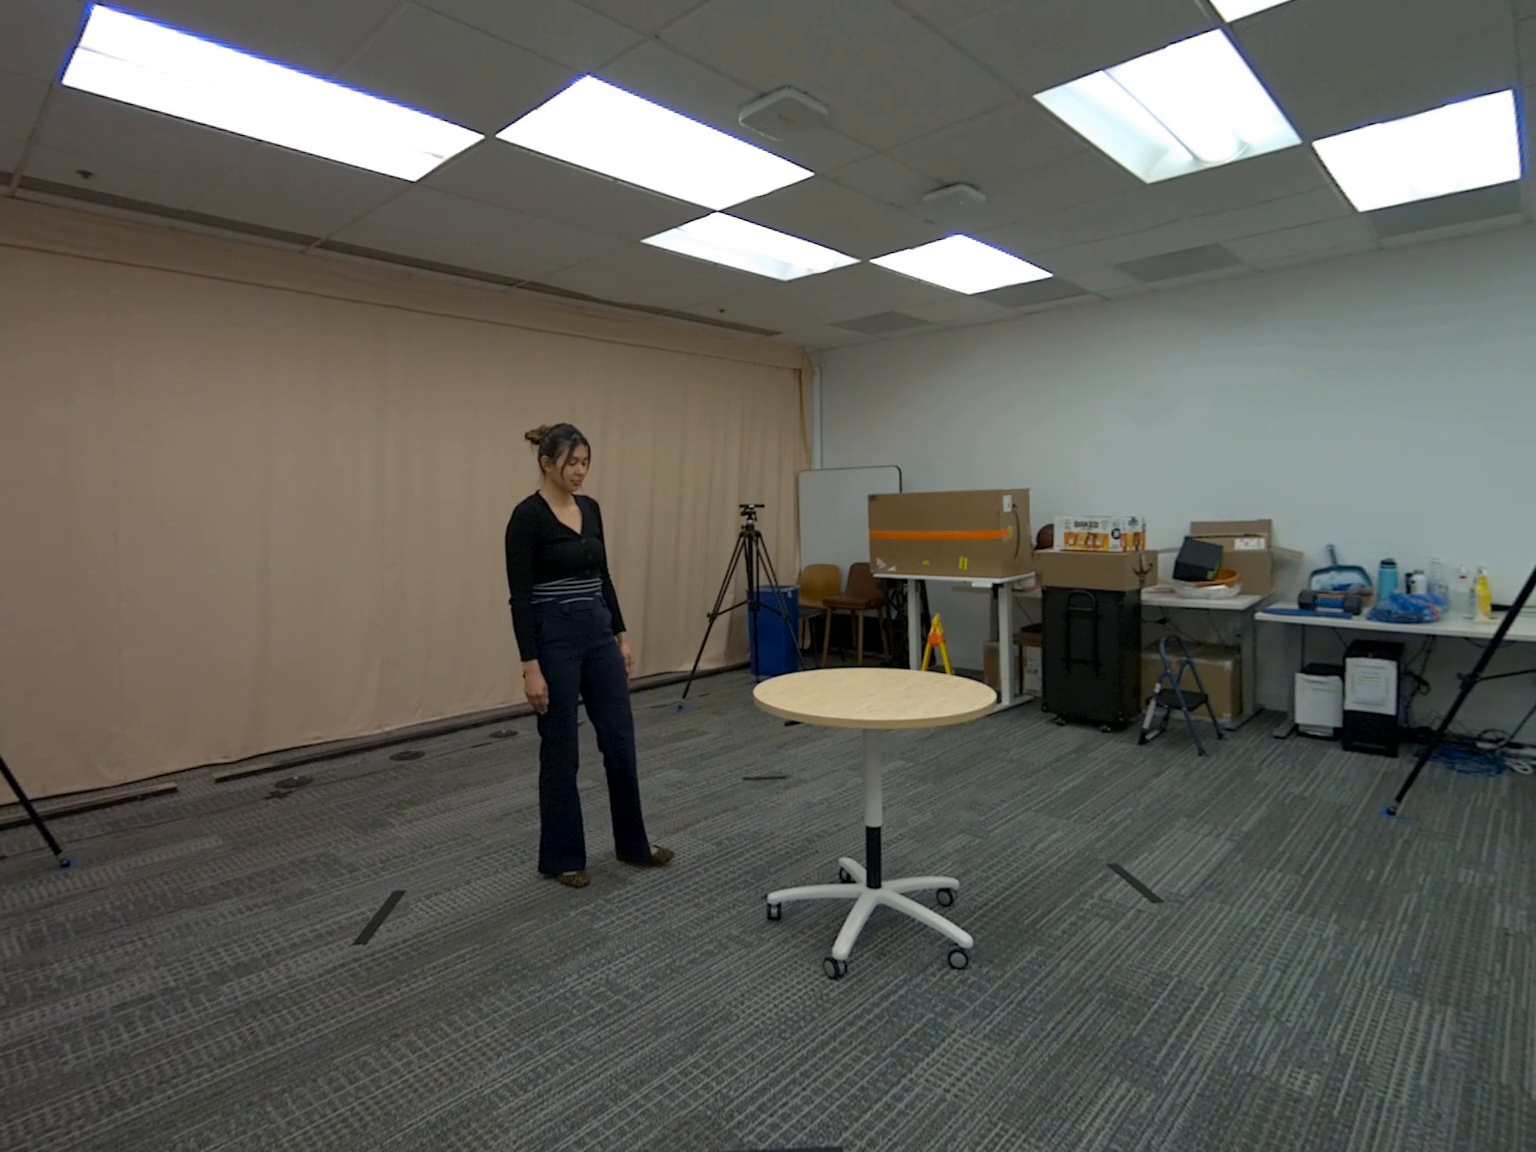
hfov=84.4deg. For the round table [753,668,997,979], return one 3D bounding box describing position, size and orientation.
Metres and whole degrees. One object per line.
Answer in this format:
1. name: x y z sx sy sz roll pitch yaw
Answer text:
1. round table: 0.352 0.766 2.734 0.763 0.792 0.767 -1 4 -2
